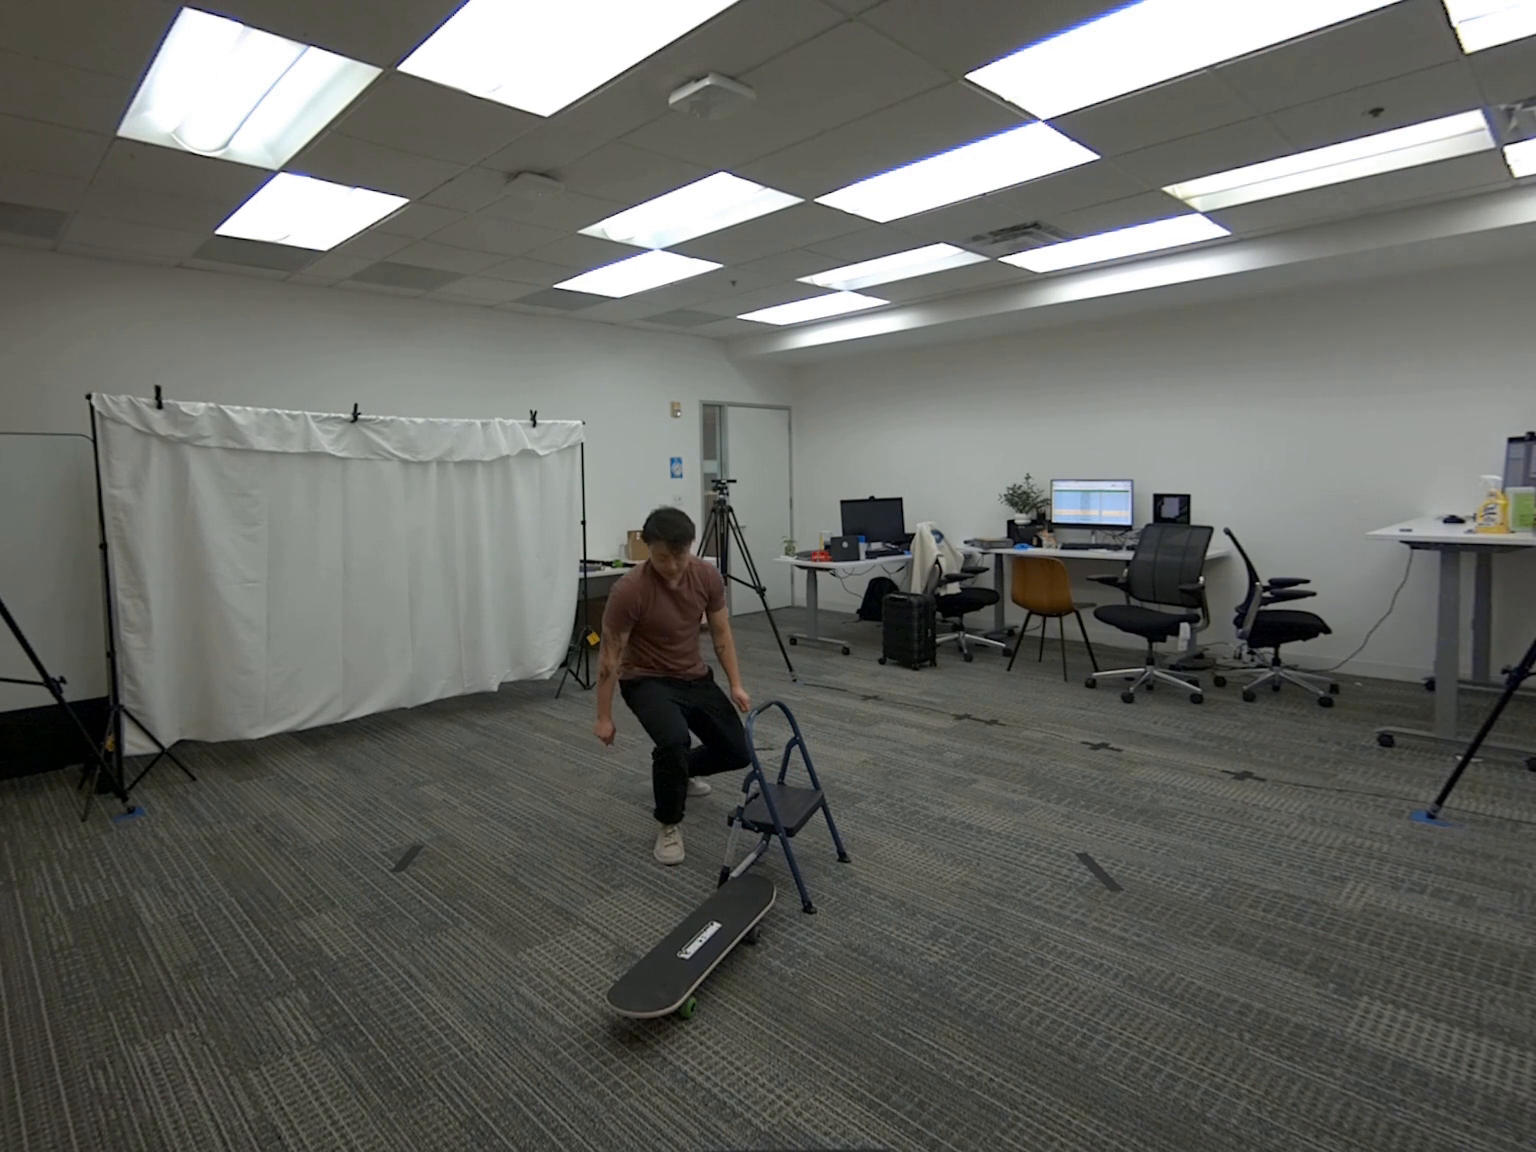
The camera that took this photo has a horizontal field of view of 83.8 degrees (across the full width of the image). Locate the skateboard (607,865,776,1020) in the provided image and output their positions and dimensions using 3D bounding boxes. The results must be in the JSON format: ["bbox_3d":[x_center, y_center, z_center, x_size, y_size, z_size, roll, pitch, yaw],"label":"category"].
[{"bbox_3d":[-0.190,1.076,2.439,0.198,0.110,0.771,1,8,25],"label":"skateboard"}]
